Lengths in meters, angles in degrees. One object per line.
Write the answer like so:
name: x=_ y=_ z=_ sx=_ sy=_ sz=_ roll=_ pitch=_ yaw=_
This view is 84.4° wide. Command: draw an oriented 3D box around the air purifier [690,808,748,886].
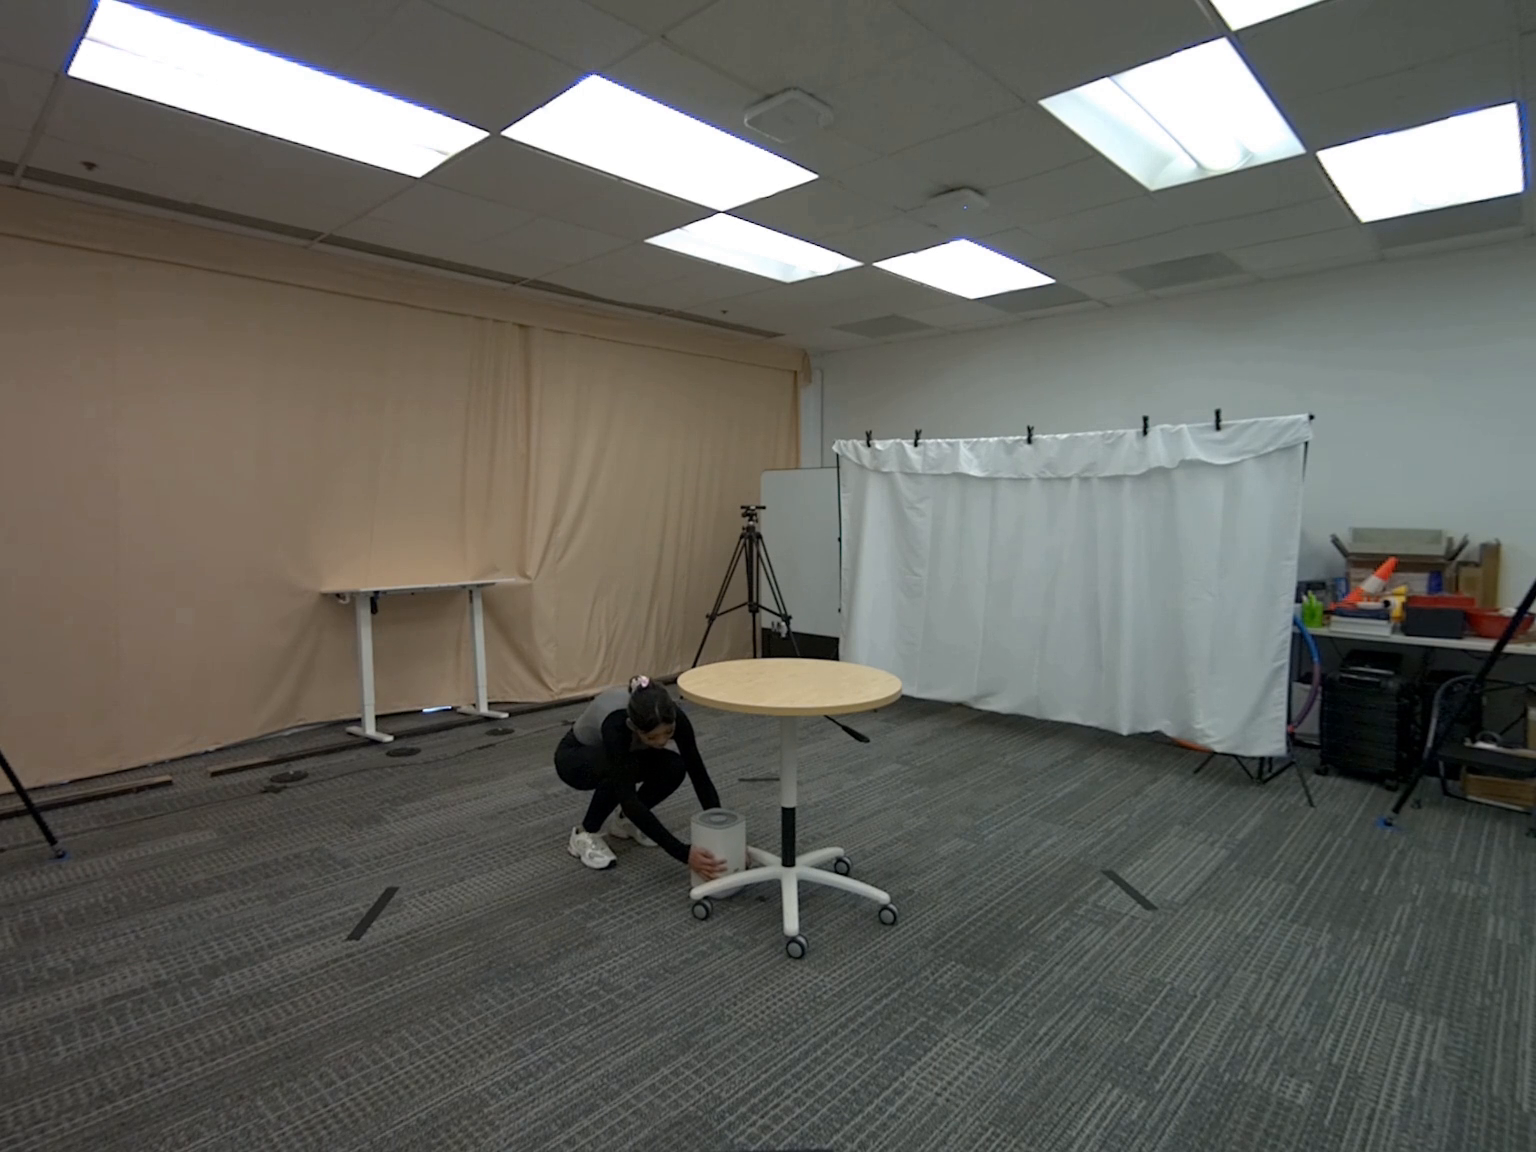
air purifier: x=-0.184 y=1.002 z=3.050 sx=0.177 sy=0.265 sz=0.166 roll=2 pitch=4 yaw=40
